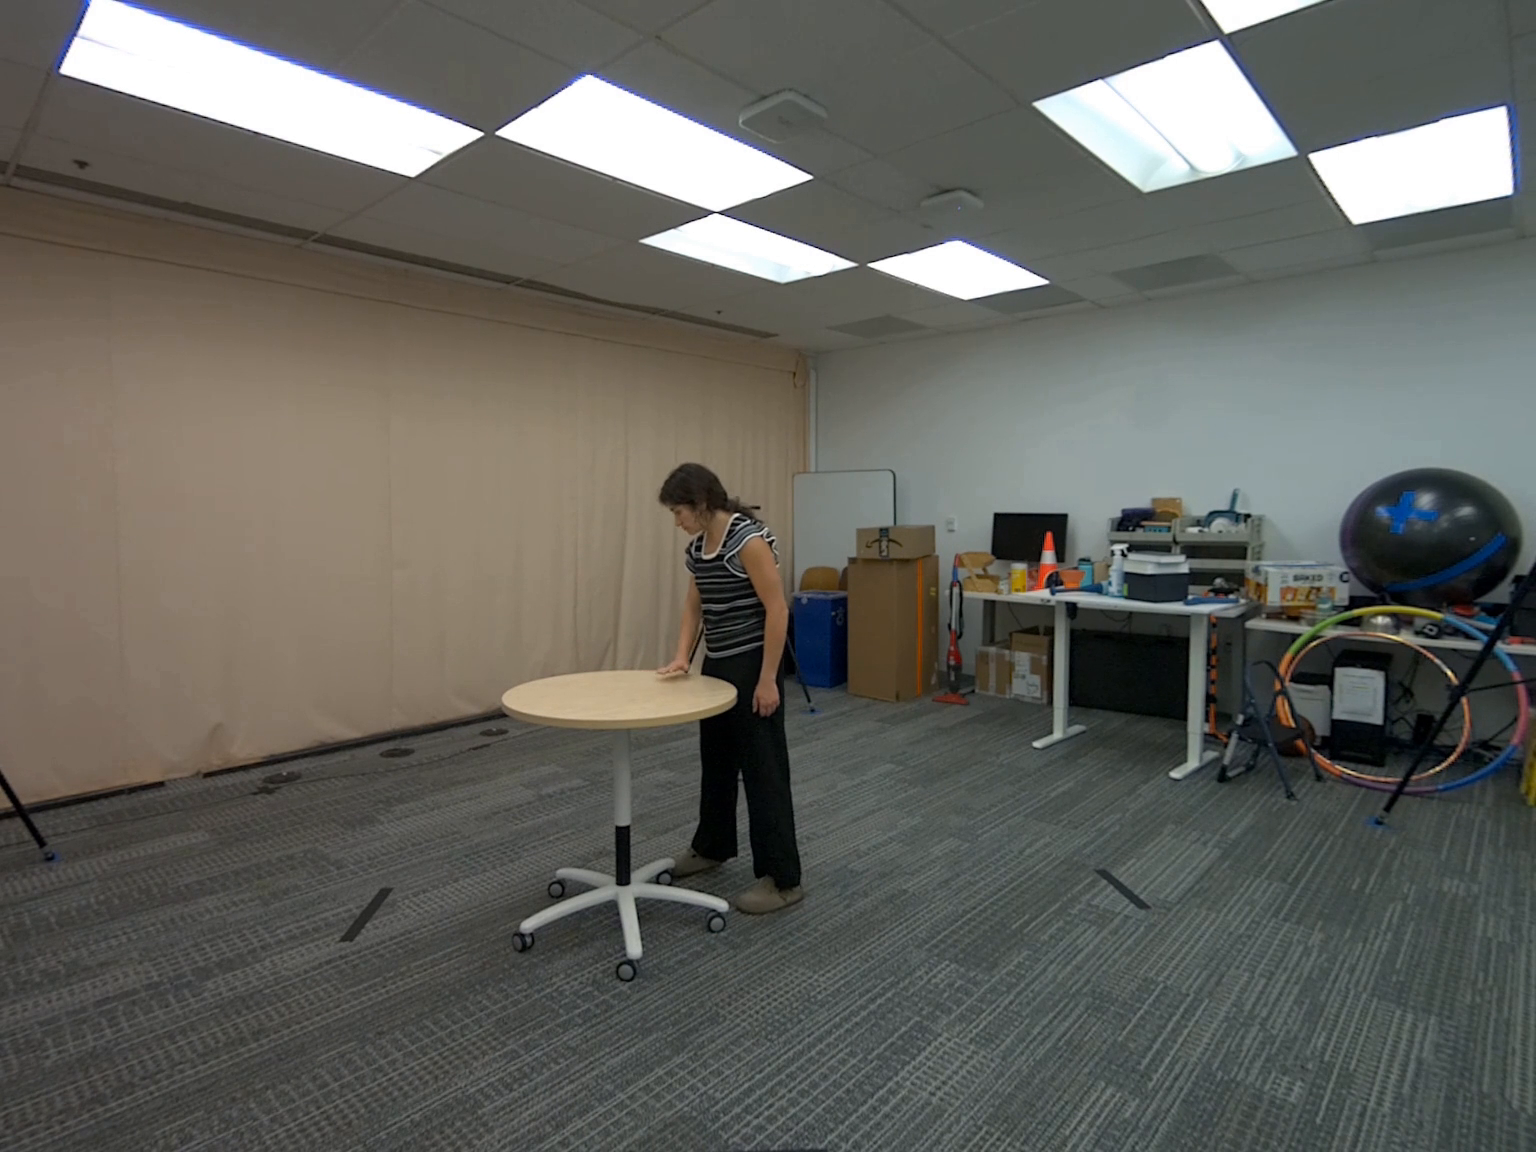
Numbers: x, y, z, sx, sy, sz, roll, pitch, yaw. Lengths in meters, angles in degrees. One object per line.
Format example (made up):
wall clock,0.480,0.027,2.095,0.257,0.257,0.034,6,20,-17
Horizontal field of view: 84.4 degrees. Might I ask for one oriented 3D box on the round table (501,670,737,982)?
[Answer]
round table,-0.486,0.777,2.783,0.763,0.792,0.766,0,3,-2
